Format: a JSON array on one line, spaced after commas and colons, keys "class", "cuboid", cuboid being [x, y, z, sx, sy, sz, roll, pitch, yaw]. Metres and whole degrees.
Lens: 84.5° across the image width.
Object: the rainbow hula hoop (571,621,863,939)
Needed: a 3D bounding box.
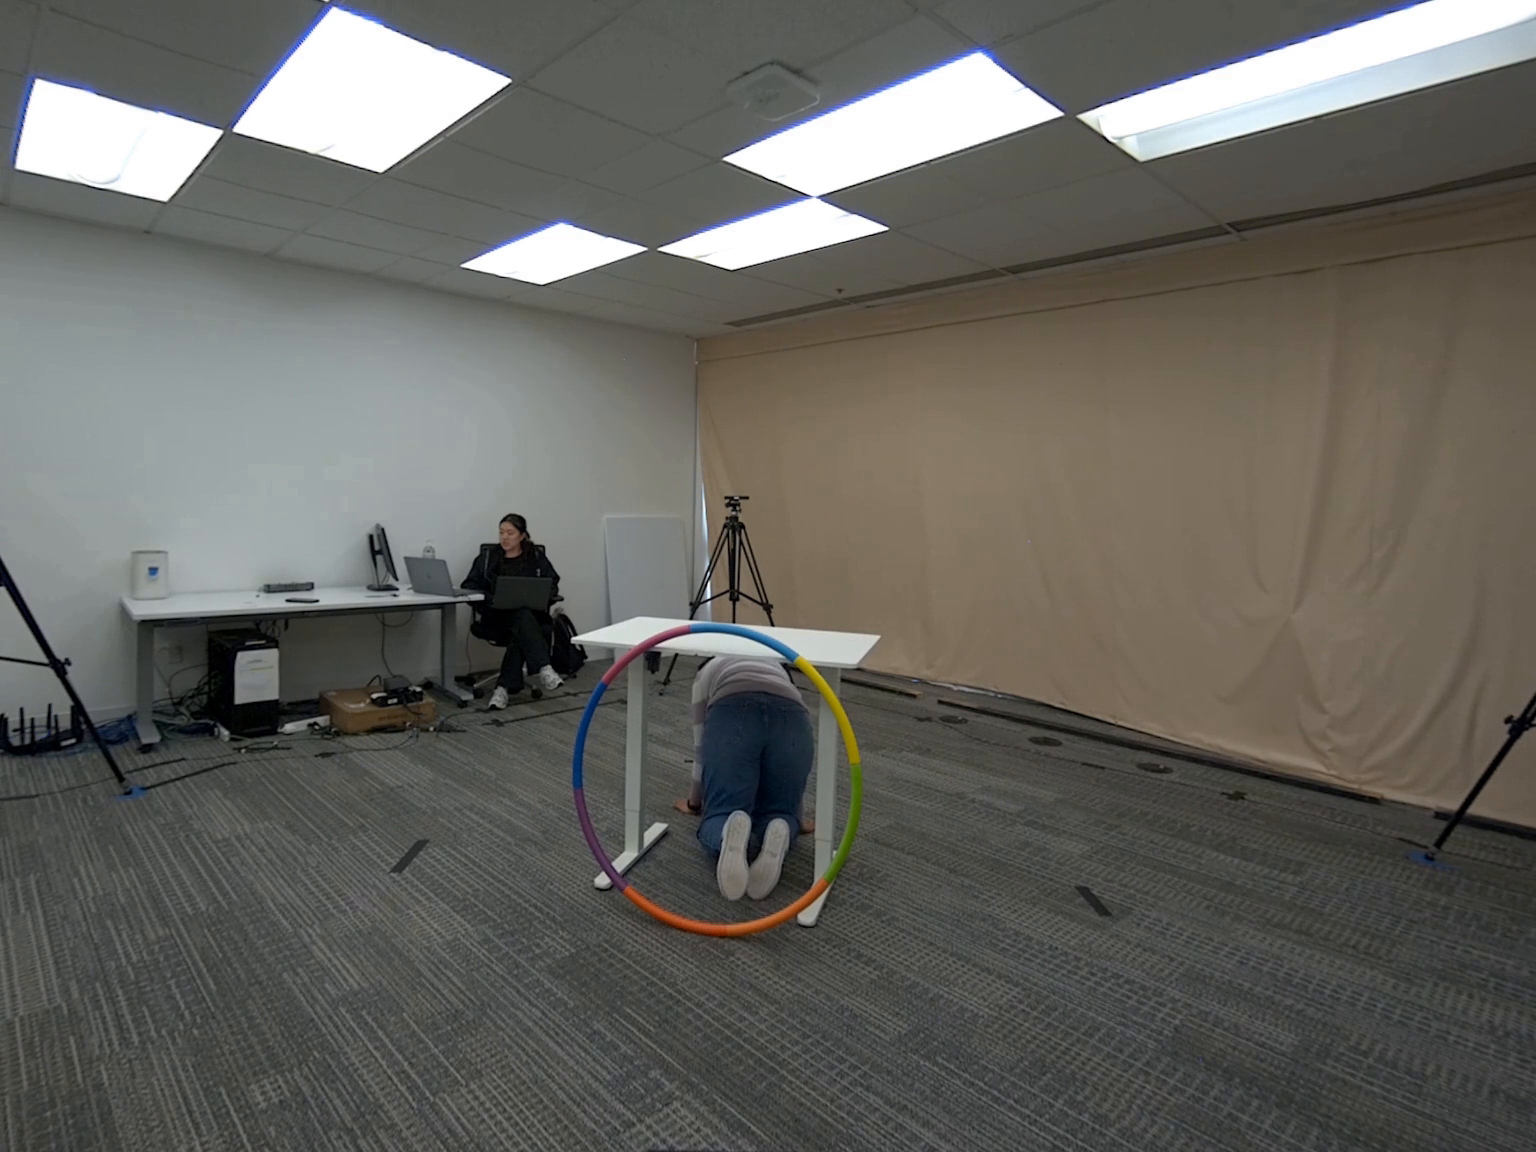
[{"class": "rainbow hula hoop", "cuboid": [-0.198, 0.658, 2.720, 0.992, 0.981, 0.035, 3, -4, 17]}]
